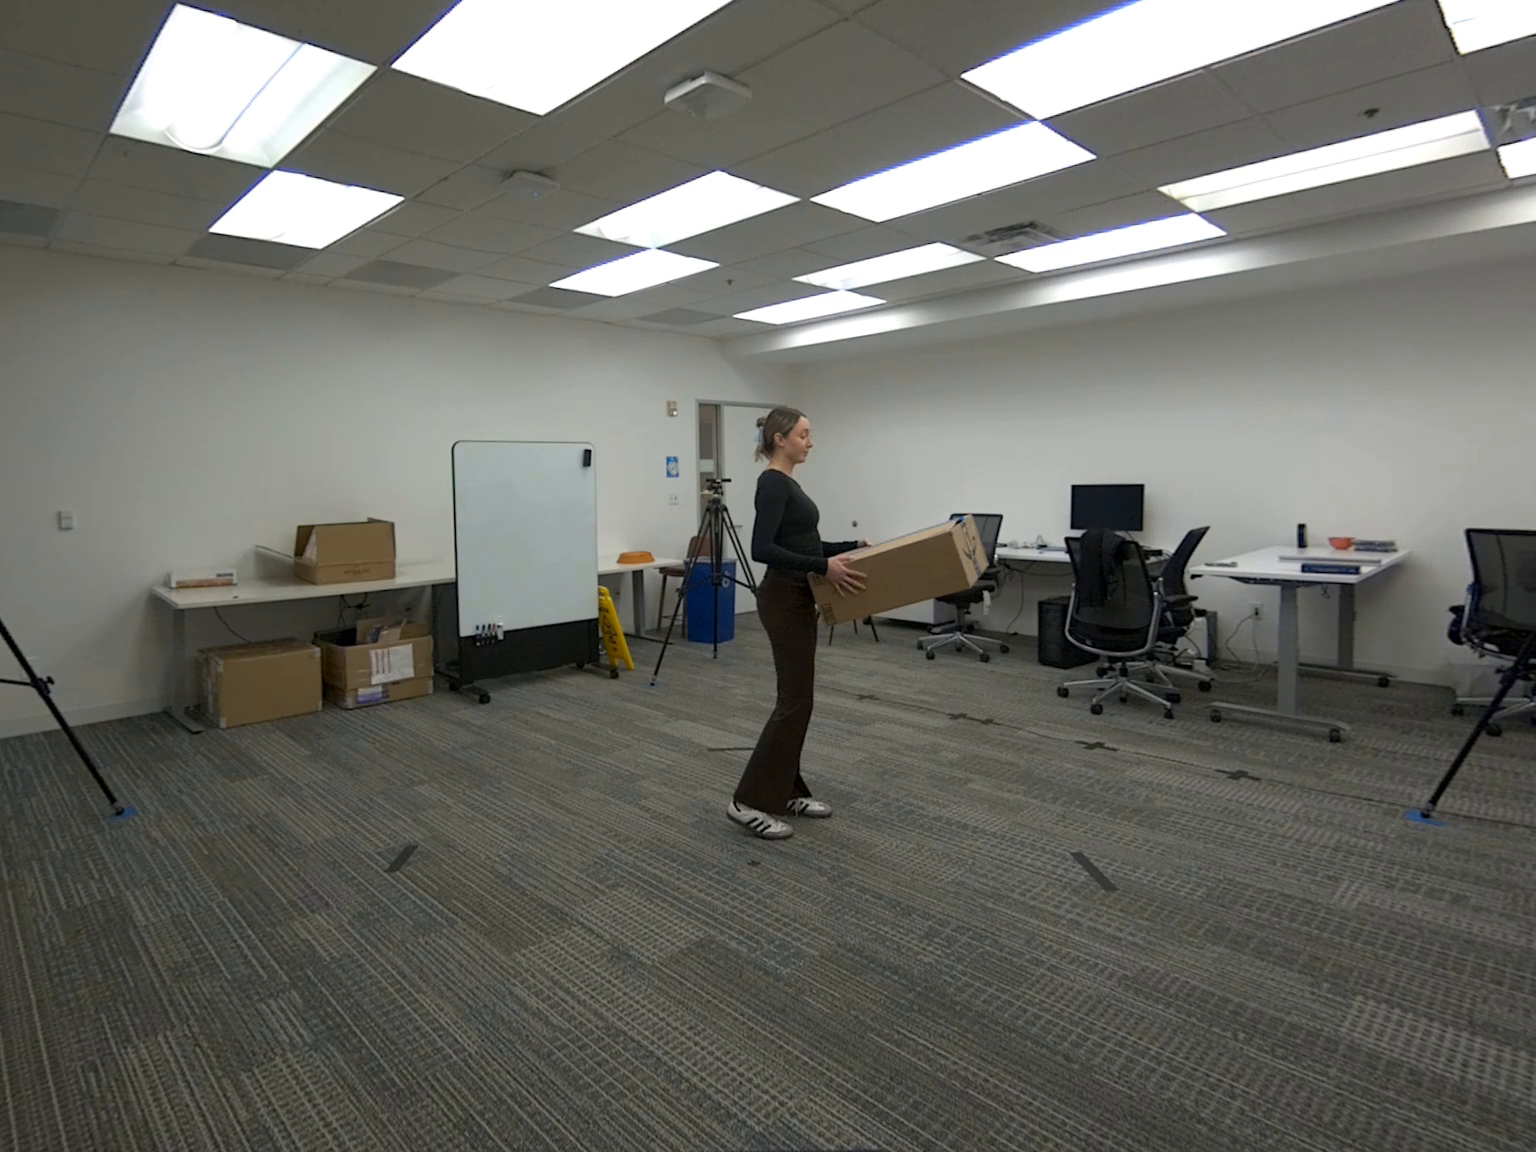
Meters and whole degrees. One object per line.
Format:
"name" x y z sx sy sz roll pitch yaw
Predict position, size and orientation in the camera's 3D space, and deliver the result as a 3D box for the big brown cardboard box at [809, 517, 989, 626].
"big brown cardboard box" 0.509 -0.030 3.267 0.597 0.233 0.413 -19 4 25
